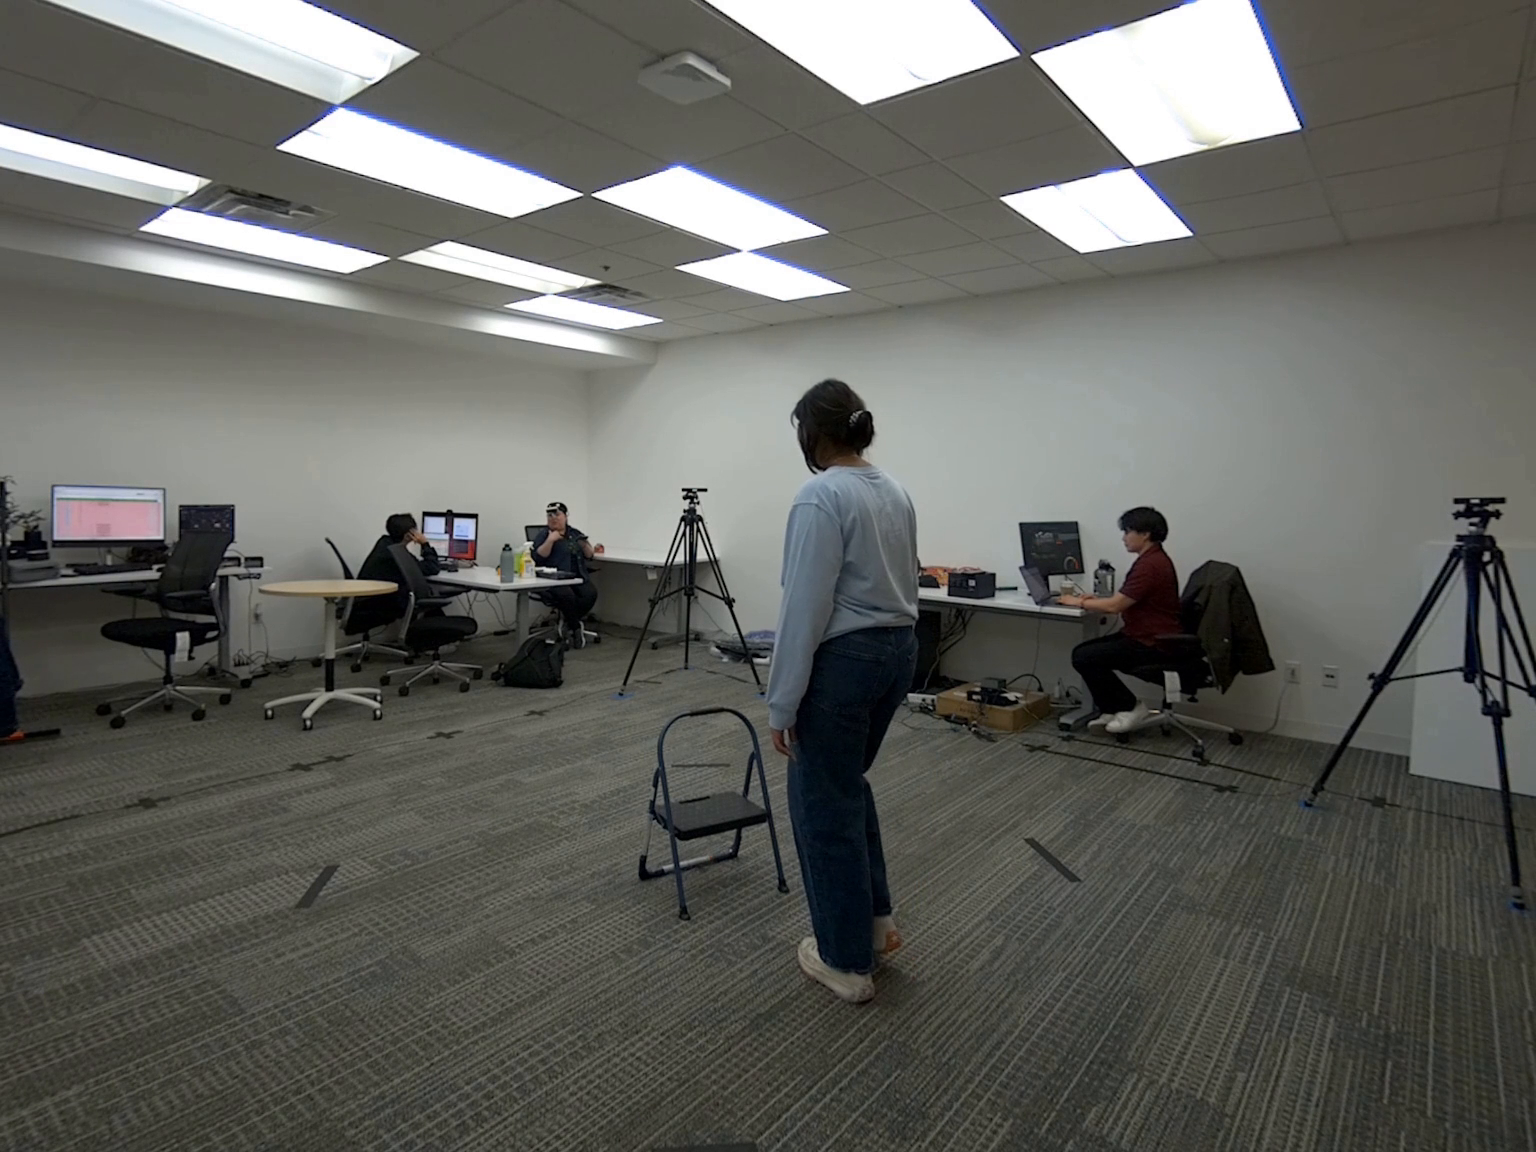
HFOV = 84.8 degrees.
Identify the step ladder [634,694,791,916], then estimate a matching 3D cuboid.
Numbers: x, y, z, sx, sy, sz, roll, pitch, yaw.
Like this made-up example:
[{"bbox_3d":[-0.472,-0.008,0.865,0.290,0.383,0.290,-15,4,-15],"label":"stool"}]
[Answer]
[{"bbox_3d":[-0.196,0.775,2.975,0.418,0.604,0.360,0,4,-34],"label":"step ladder"}]
